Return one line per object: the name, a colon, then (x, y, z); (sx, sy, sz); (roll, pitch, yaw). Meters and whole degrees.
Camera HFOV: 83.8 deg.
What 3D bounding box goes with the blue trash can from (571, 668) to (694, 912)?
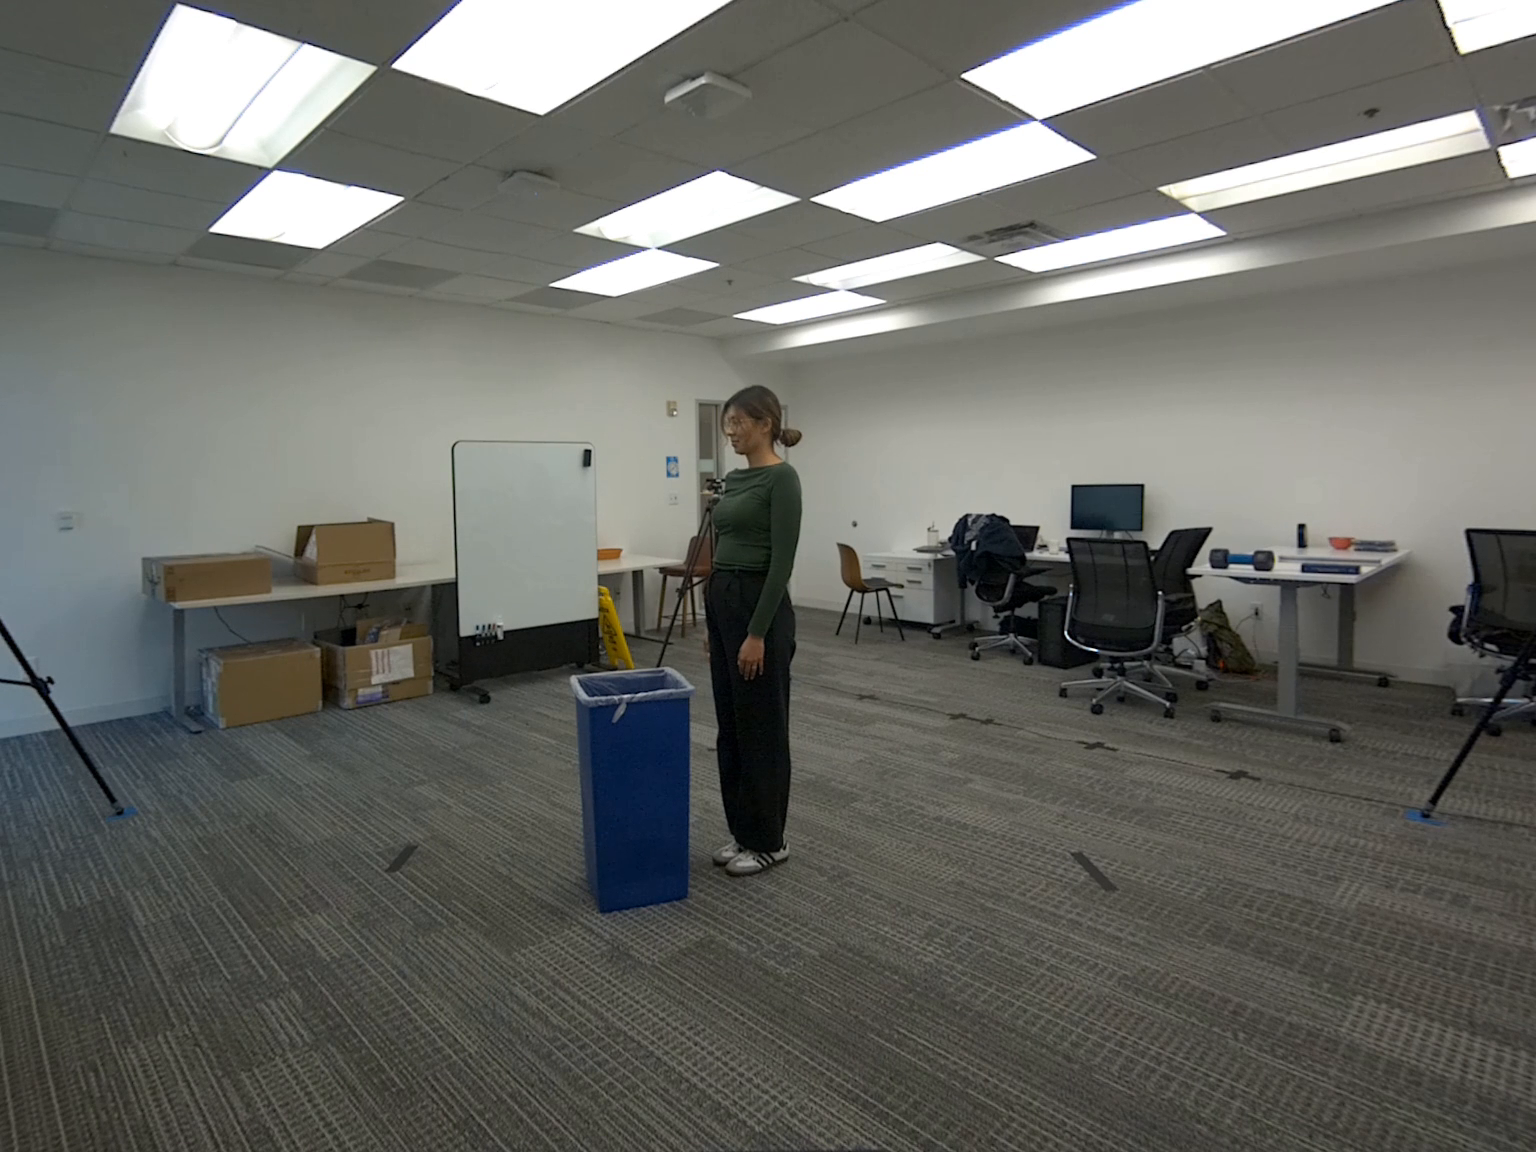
blue trash can: (-0.464, 0.715, 2.919); (0.367, 0.711, 0.386); (-2, 4, -20)
